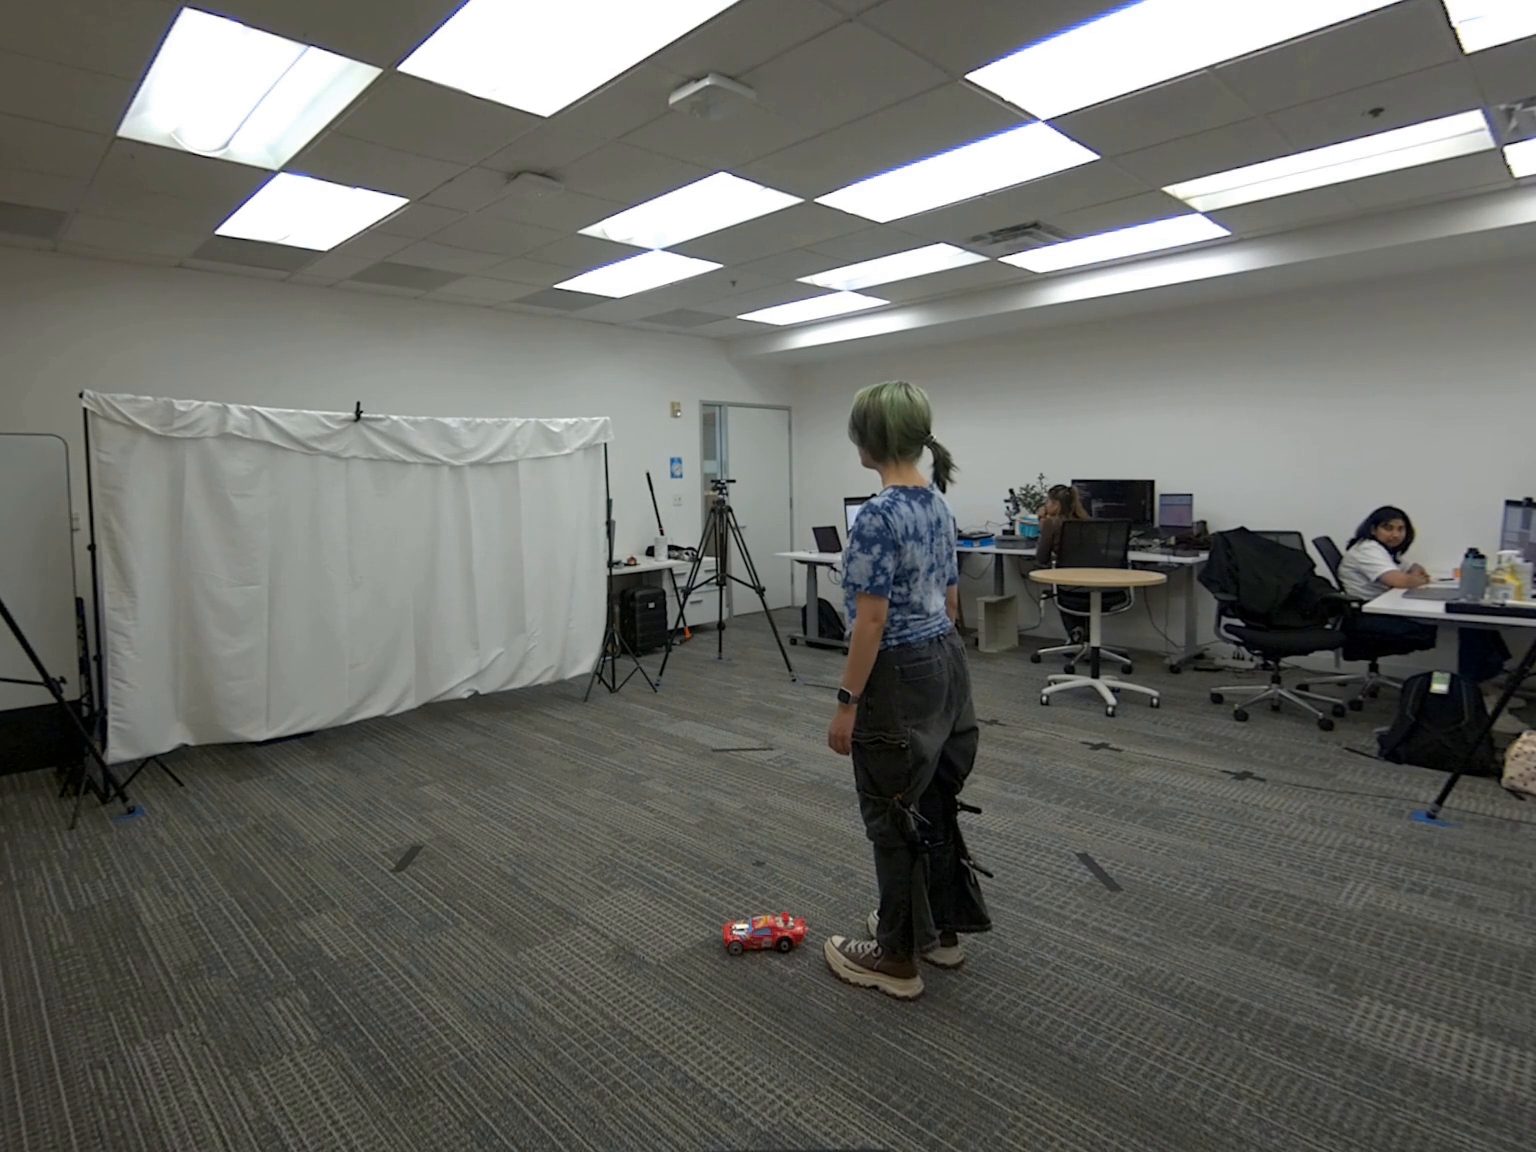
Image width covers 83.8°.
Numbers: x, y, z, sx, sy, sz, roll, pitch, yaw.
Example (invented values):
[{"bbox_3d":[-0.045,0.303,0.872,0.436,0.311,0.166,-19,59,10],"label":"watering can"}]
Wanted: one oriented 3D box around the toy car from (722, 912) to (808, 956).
[{"bbox_3d":[-0.004,1.078,2.566,0.254,0.083,0.131,-13,6,-3],"label":"toy car"}]
